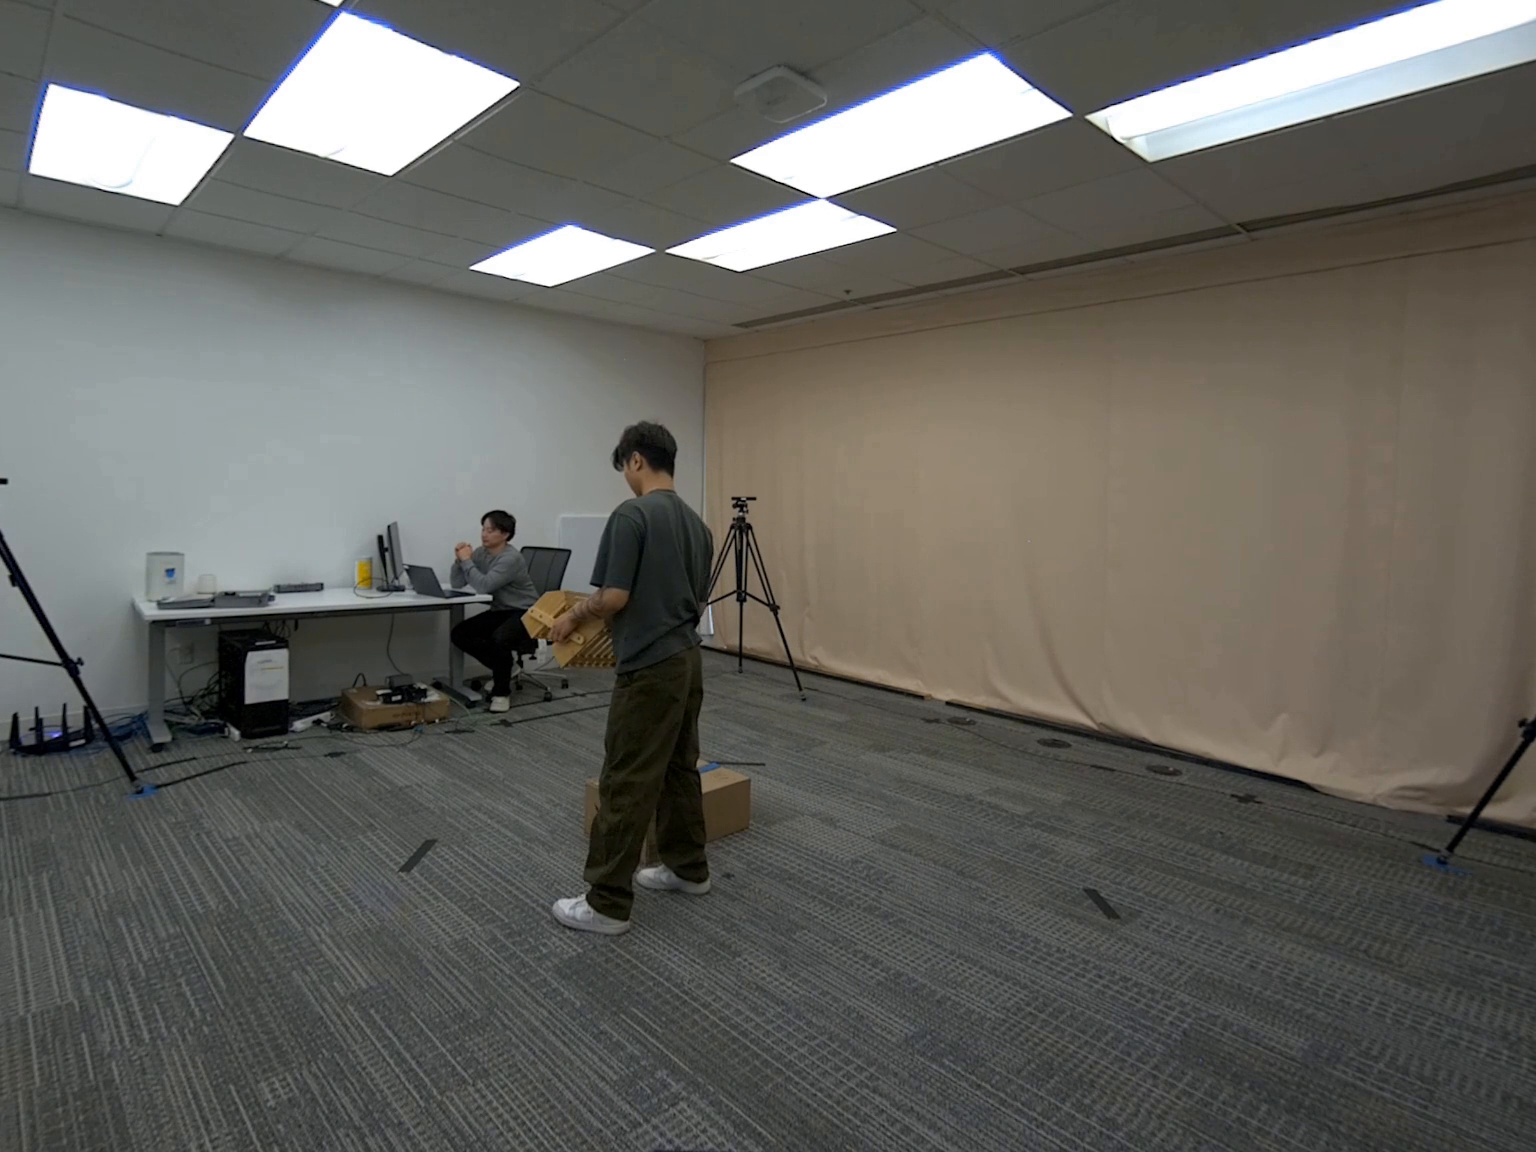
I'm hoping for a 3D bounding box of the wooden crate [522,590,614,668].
[{"bbox_3d":[-0.637,0.161,3.010,0.302,0.280,0.316,-44,-26,18],"label":"wooden crate"}]
